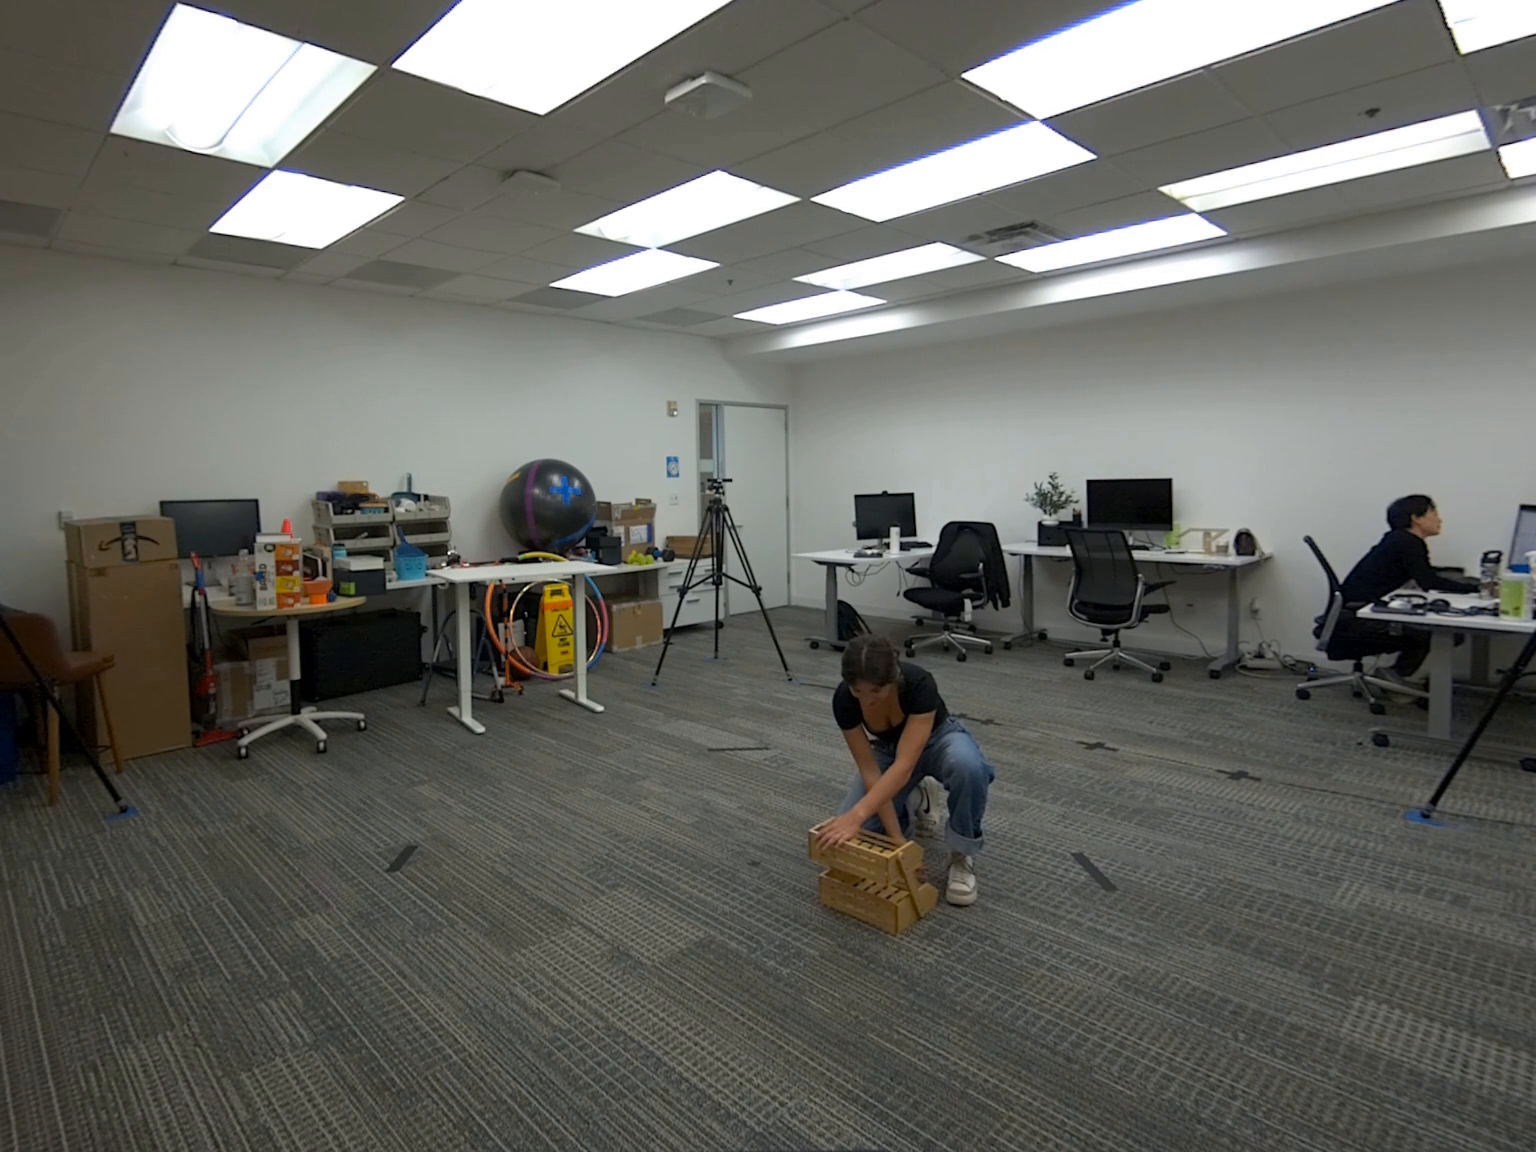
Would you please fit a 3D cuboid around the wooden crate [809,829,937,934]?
[{"bbox_3d":[0.348,0.943,2.771,0.334,0.272,0.294,3,7,43],"label":"wooden crate"}]
